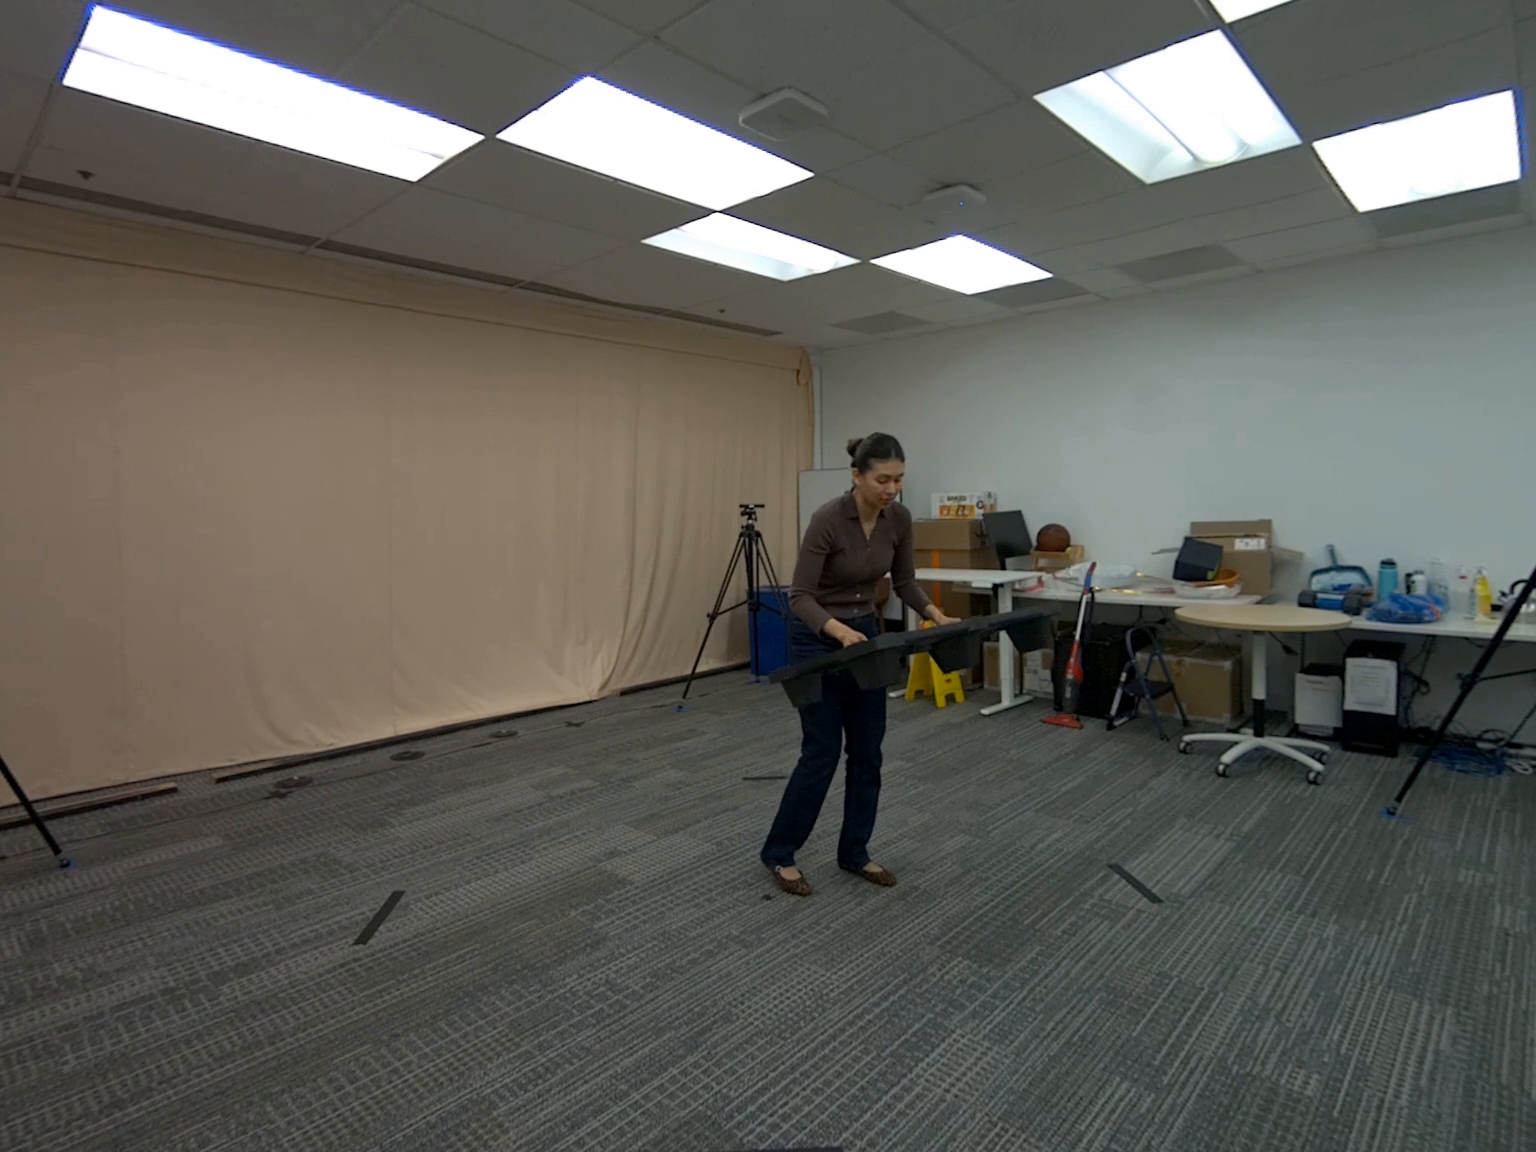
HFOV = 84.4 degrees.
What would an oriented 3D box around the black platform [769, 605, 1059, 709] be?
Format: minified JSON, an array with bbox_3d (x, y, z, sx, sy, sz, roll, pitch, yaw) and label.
[{"bbox_3d":[0.495,0.269,2.764,0.785,0.145,0.615,-7,-11,-32],"label":"black platform"}]
